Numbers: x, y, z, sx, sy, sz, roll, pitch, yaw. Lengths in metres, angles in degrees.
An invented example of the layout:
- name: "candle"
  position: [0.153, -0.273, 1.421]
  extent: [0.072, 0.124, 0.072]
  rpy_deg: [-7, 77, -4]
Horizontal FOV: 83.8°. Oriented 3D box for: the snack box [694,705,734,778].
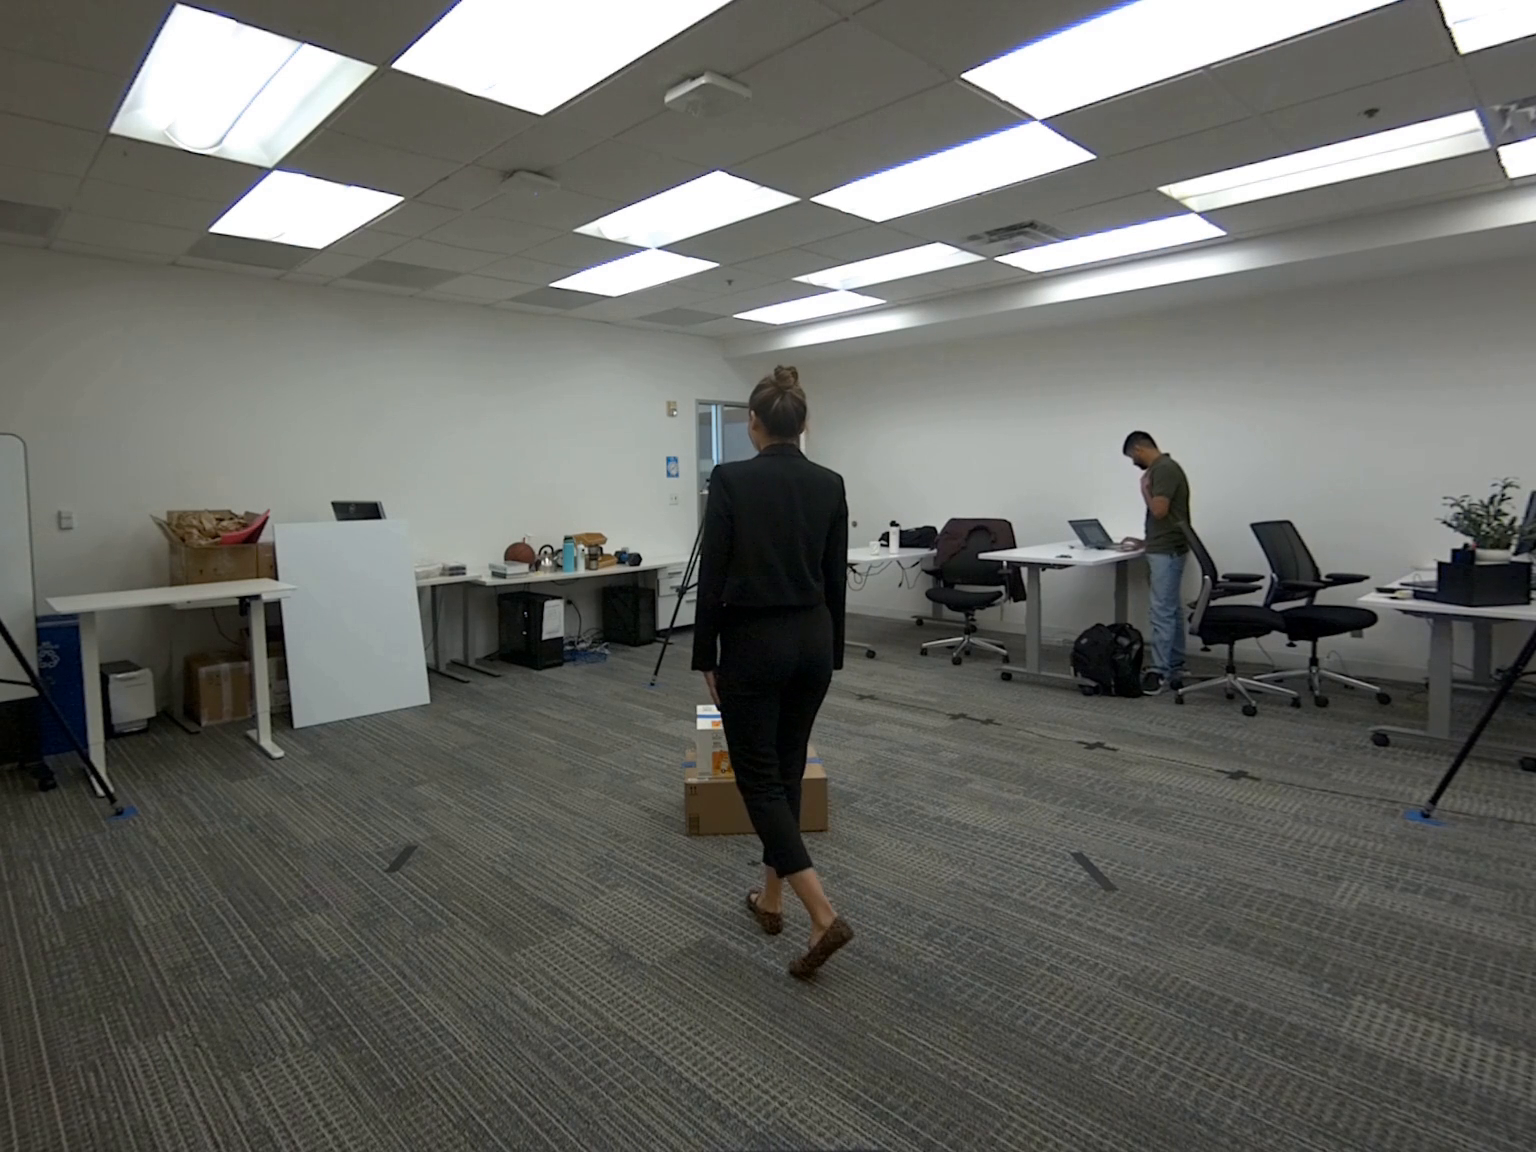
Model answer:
- name: "snack box"
  position: [-0.090, 0.679, 3.549]
  extent: [0.404, 0.204, 0.343]
  rpy_deg: [-1, 7, -3]
